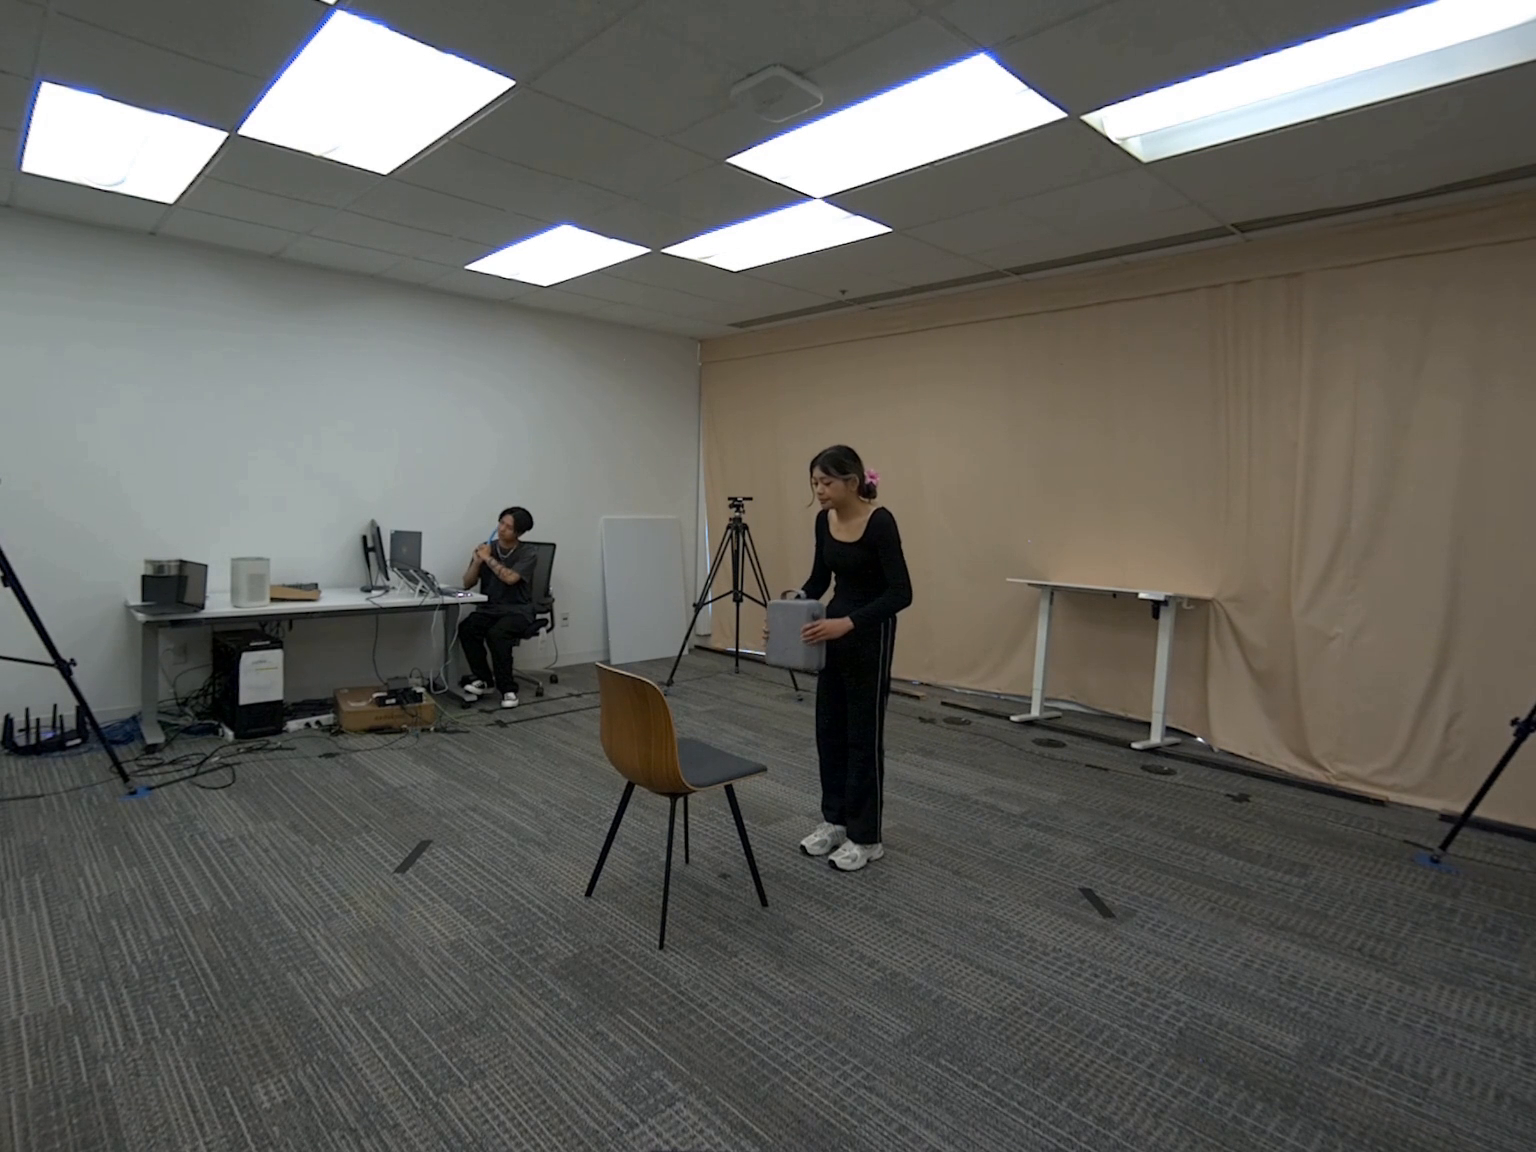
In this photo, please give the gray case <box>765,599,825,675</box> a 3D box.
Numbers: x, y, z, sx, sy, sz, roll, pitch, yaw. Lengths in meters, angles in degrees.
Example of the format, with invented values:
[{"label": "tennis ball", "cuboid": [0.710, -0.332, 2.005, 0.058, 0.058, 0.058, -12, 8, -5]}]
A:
[{"label": "gray case", "cuboid": [0.100, 0.212, 3.104, 0.102, 0.261, 0.262, 1, -1, -34]}]
